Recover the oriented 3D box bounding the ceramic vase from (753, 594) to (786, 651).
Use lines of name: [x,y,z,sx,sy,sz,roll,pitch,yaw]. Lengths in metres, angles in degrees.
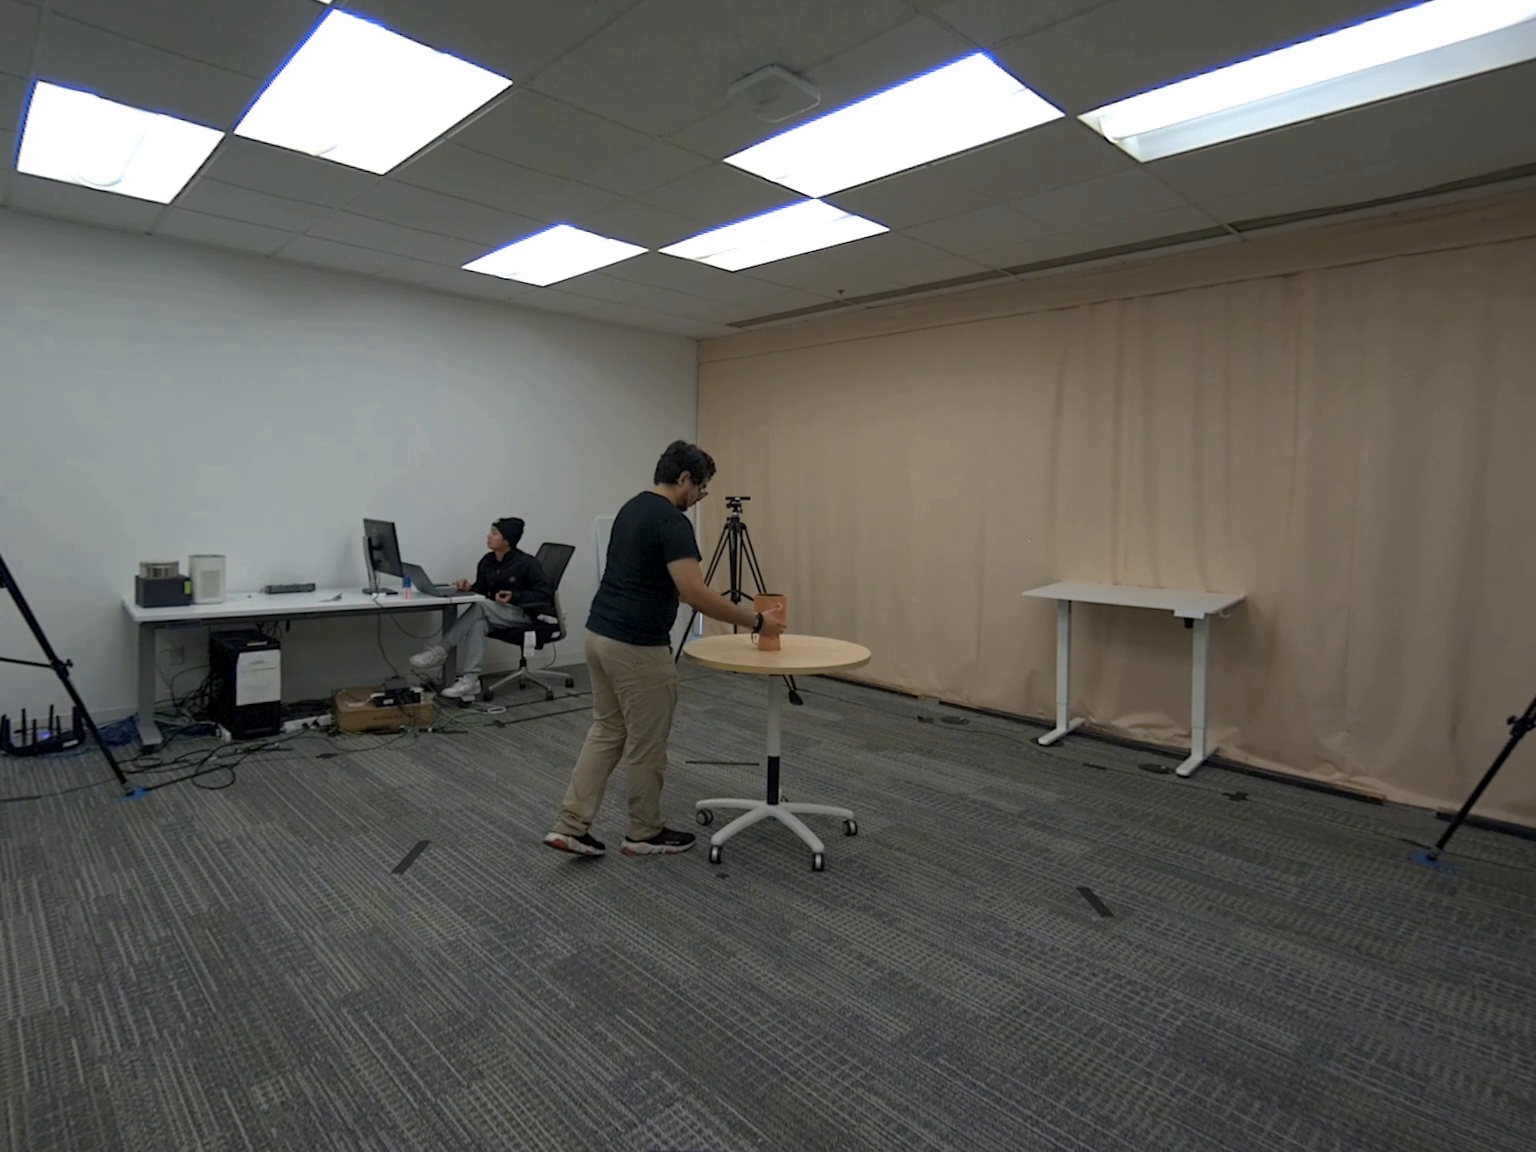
ceramic vase: [-0.001,0.191,3.437,0.136,0.219,0.158,2,3,9]
